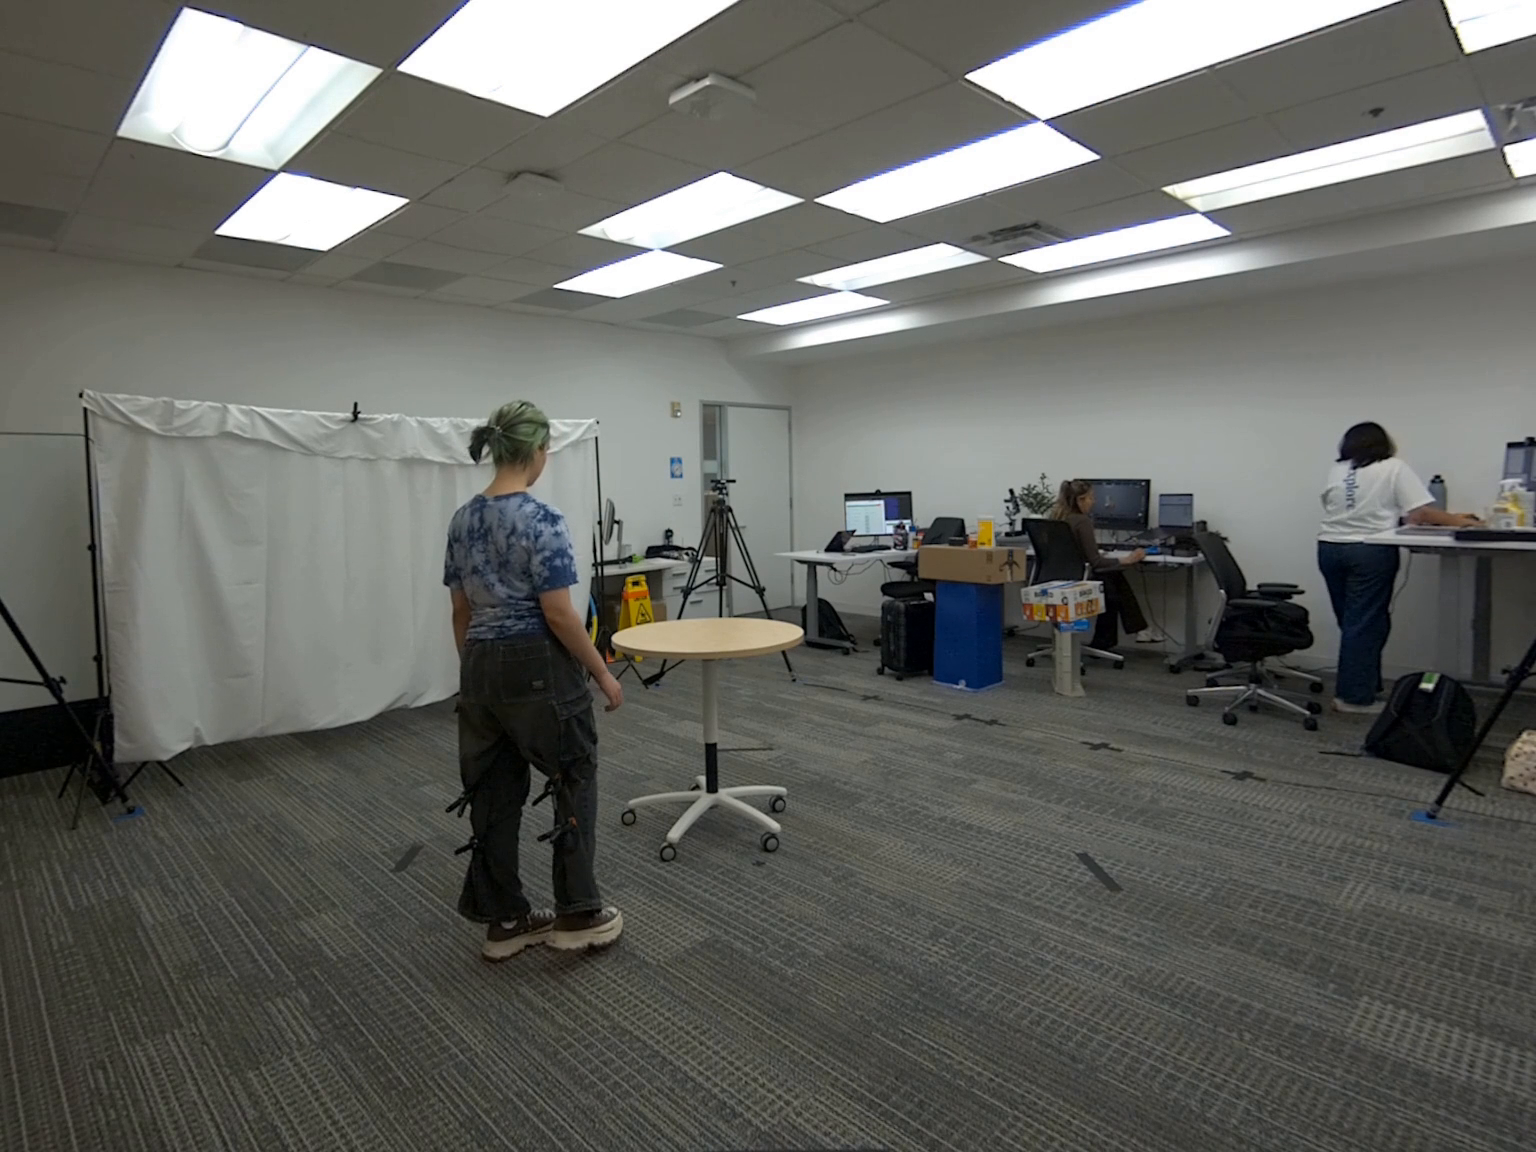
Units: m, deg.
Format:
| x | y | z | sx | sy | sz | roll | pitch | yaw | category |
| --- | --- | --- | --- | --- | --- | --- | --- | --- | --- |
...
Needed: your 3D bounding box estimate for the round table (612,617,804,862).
| x | y | z | sx | sy | sz | roll | pitch | yaw | category |
| --- | --- | --- | --- | --- | --- | --- | --- | --- | --- |
| -0.228 | 0.624 | 3.431 | 0.763 | 0.791 | 0.768 | -2 | 5 | -2 | round table |
